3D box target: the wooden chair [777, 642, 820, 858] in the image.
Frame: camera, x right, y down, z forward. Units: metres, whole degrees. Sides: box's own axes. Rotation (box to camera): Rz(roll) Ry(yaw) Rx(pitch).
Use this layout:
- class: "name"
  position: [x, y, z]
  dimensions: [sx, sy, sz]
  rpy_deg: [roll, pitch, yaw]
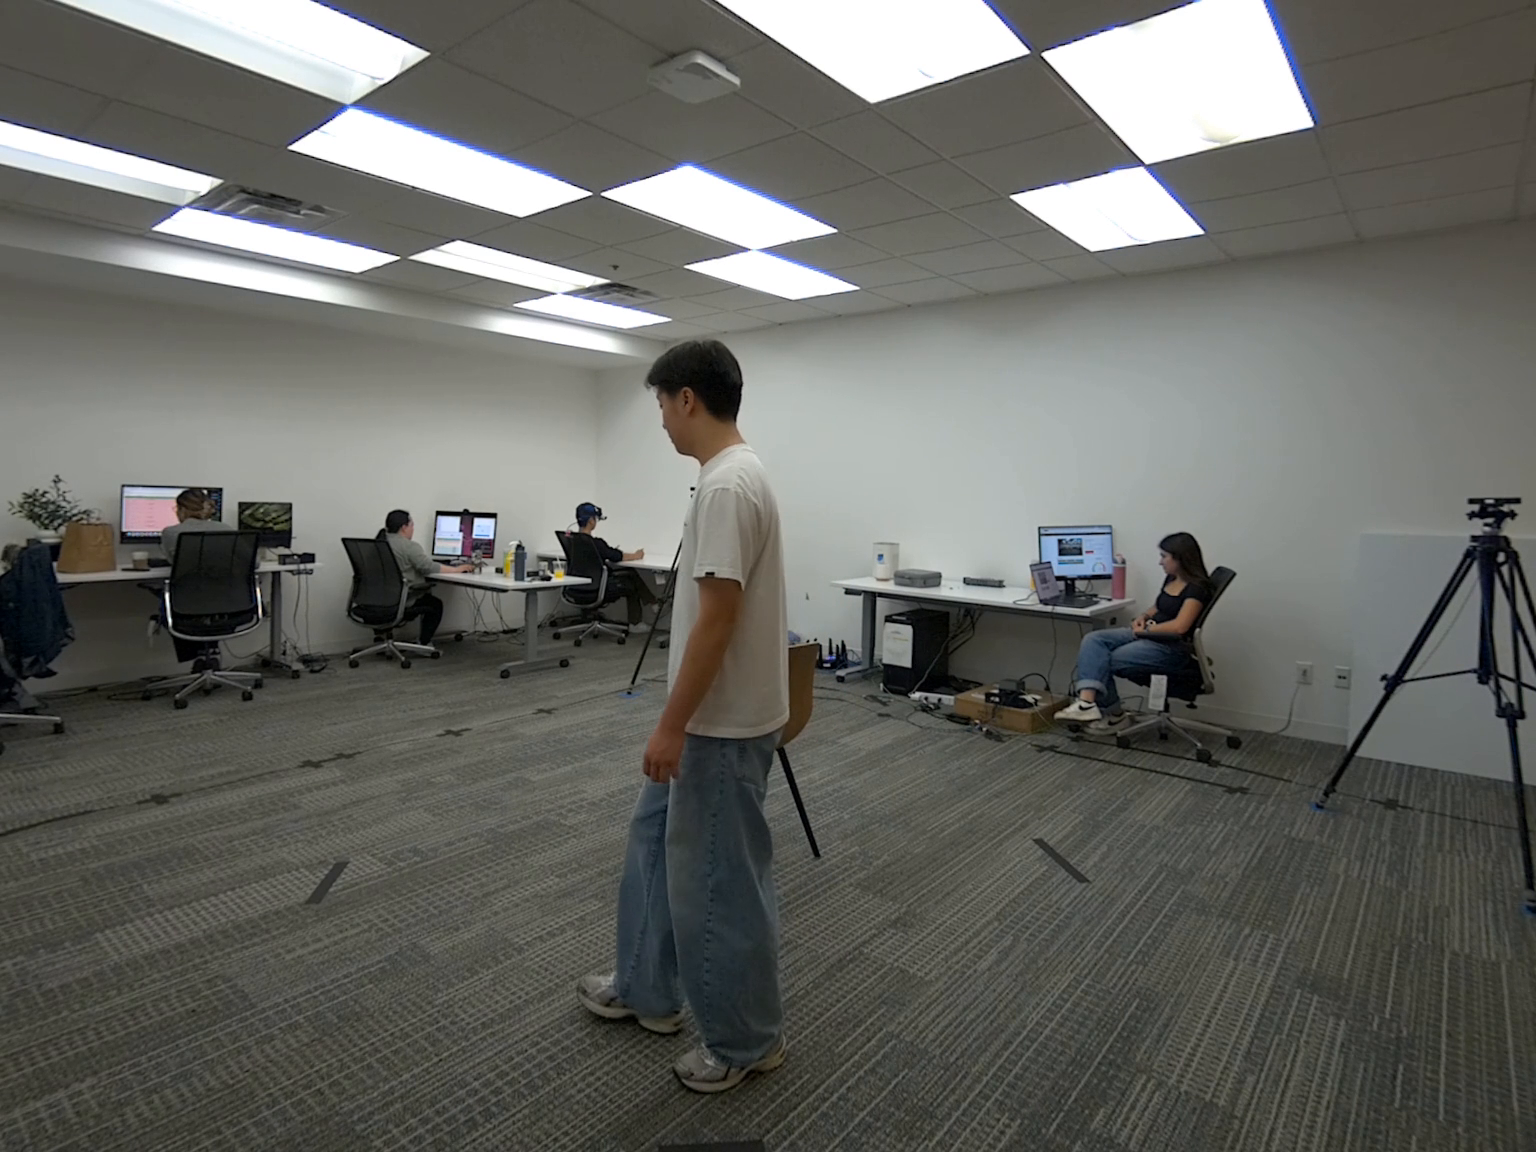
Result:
- class: "wooden chair"
  position: [-0.121, 0.632, 3.194]
  dimensions: [0.542, 0.873, 0.463]
  rpy_deg: [10, 8, 40]
